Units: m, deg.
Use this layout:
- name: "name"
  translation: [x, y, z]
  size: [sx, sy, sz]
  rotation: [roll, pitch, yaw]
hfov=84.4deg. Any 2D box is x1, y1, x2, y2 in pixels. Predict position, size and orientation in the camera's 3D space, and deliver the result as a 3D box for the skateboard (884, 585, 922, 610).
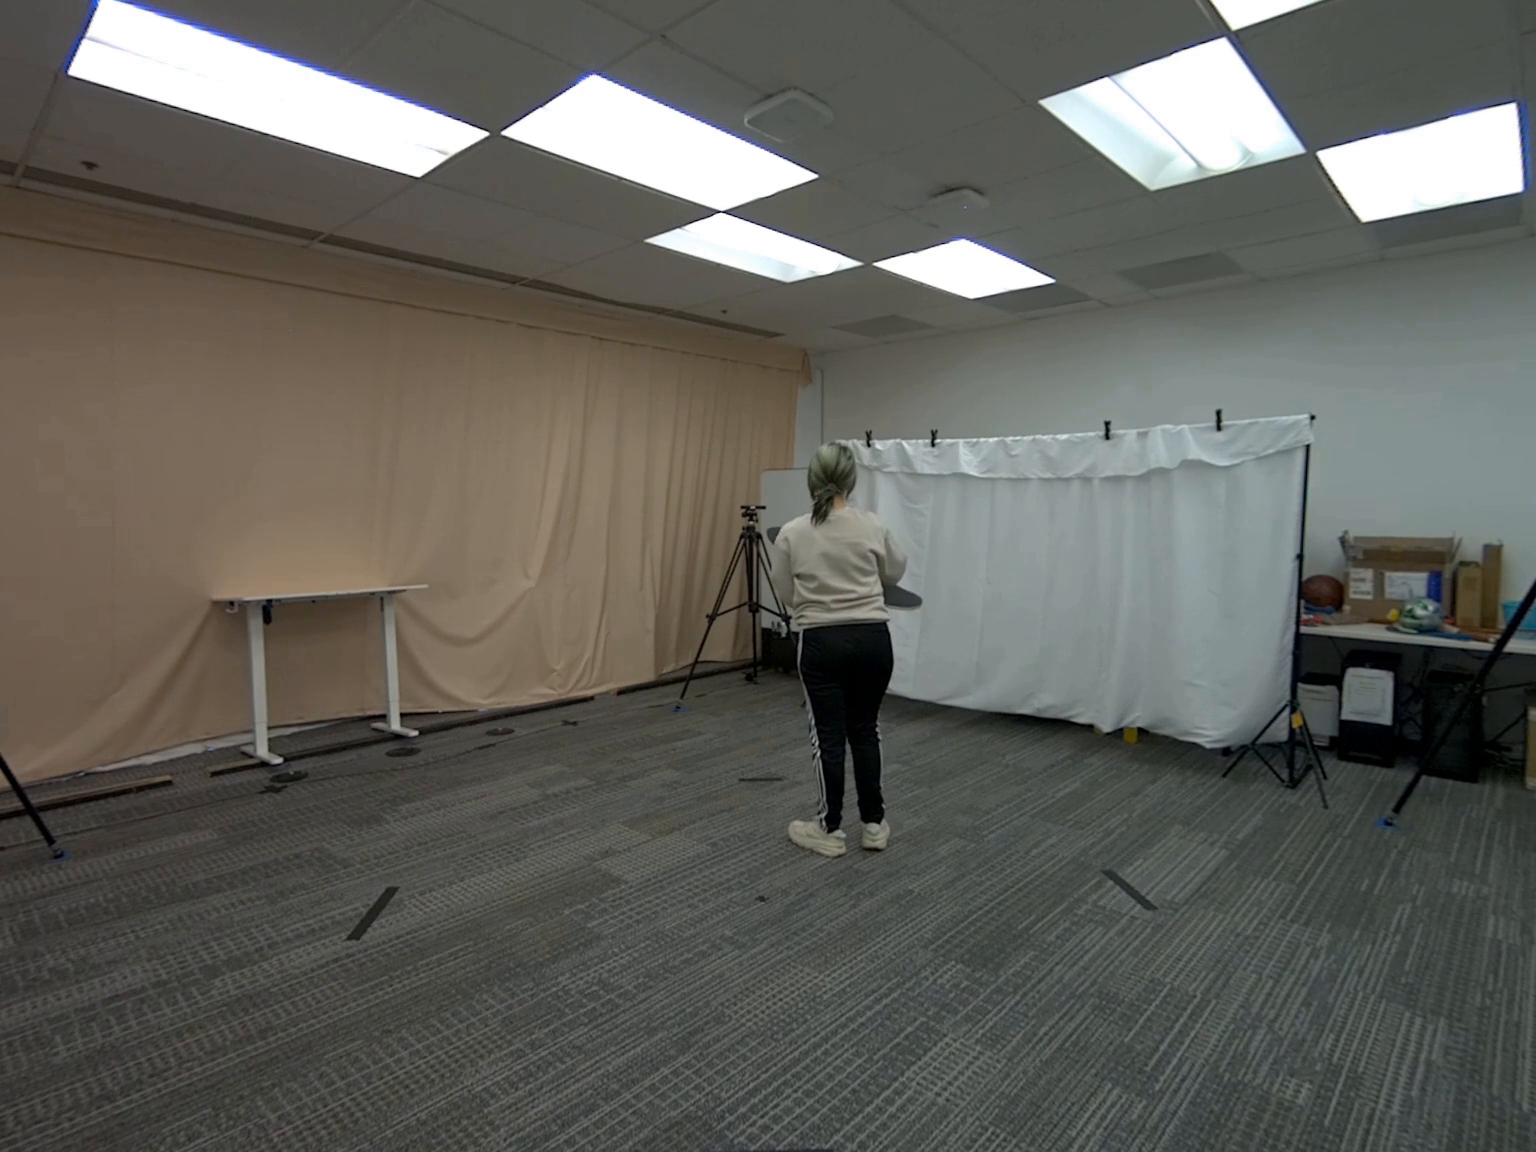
- name: "skateboard"
  translation: [0.314, -0.004, 3.744]
  size: [0.809, 0.109, 0.190]
  rotation: [29, 34, 26]
